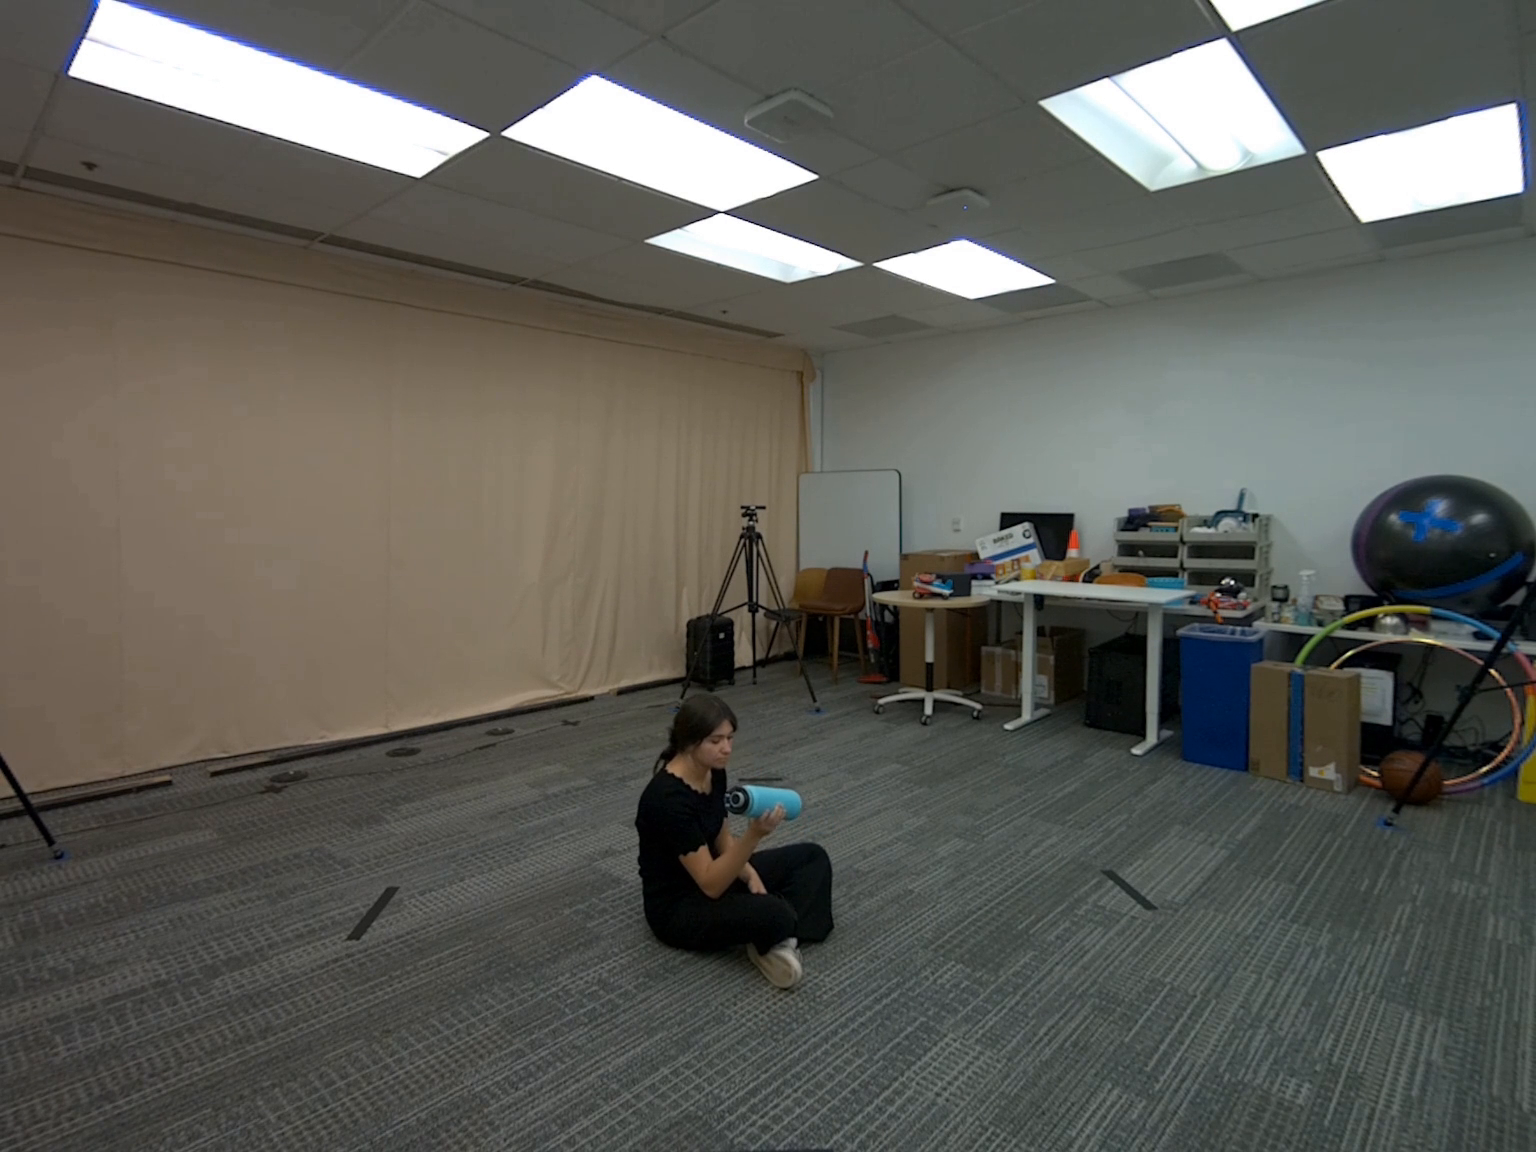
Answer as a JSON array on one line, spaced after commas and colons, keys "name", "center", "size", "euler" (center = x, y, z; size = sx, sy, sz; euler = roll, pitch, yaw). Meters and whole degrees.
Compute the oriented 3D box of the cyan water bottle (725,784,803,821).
[{"name": "cyan water bottle", "center": [-0.017, 0.665, 2.468], "size": [0.095, 0.092, 0.273], "euler": [3, -12, 43]}]
